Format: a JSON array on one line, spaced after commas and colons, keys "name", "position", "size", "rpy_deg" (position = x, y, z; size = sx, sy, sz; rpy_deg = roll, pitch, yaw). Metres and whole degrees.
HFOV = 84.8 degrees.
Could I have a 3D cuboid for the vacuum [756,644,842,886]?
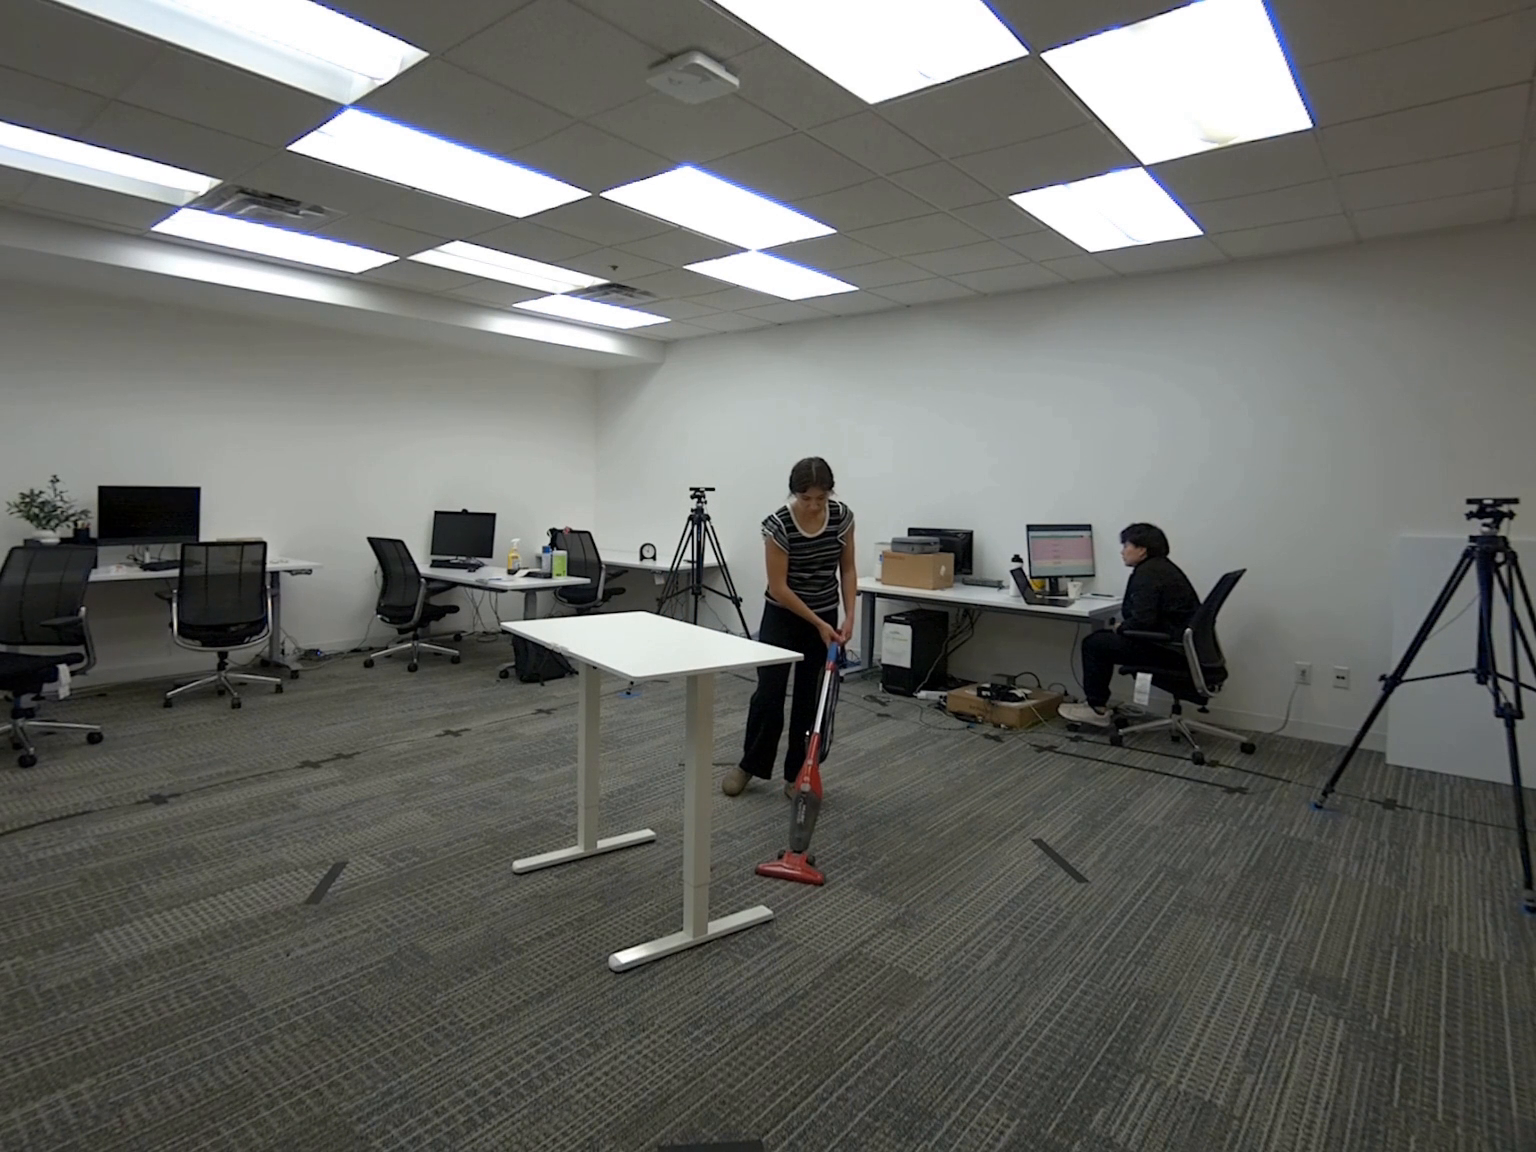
[{"name": "vacuum", "position": [0.190, 0.677, 3.405], "size": [0.256, 1.068, 0.140], "rpy_deg": [8, -39, 9]}]
